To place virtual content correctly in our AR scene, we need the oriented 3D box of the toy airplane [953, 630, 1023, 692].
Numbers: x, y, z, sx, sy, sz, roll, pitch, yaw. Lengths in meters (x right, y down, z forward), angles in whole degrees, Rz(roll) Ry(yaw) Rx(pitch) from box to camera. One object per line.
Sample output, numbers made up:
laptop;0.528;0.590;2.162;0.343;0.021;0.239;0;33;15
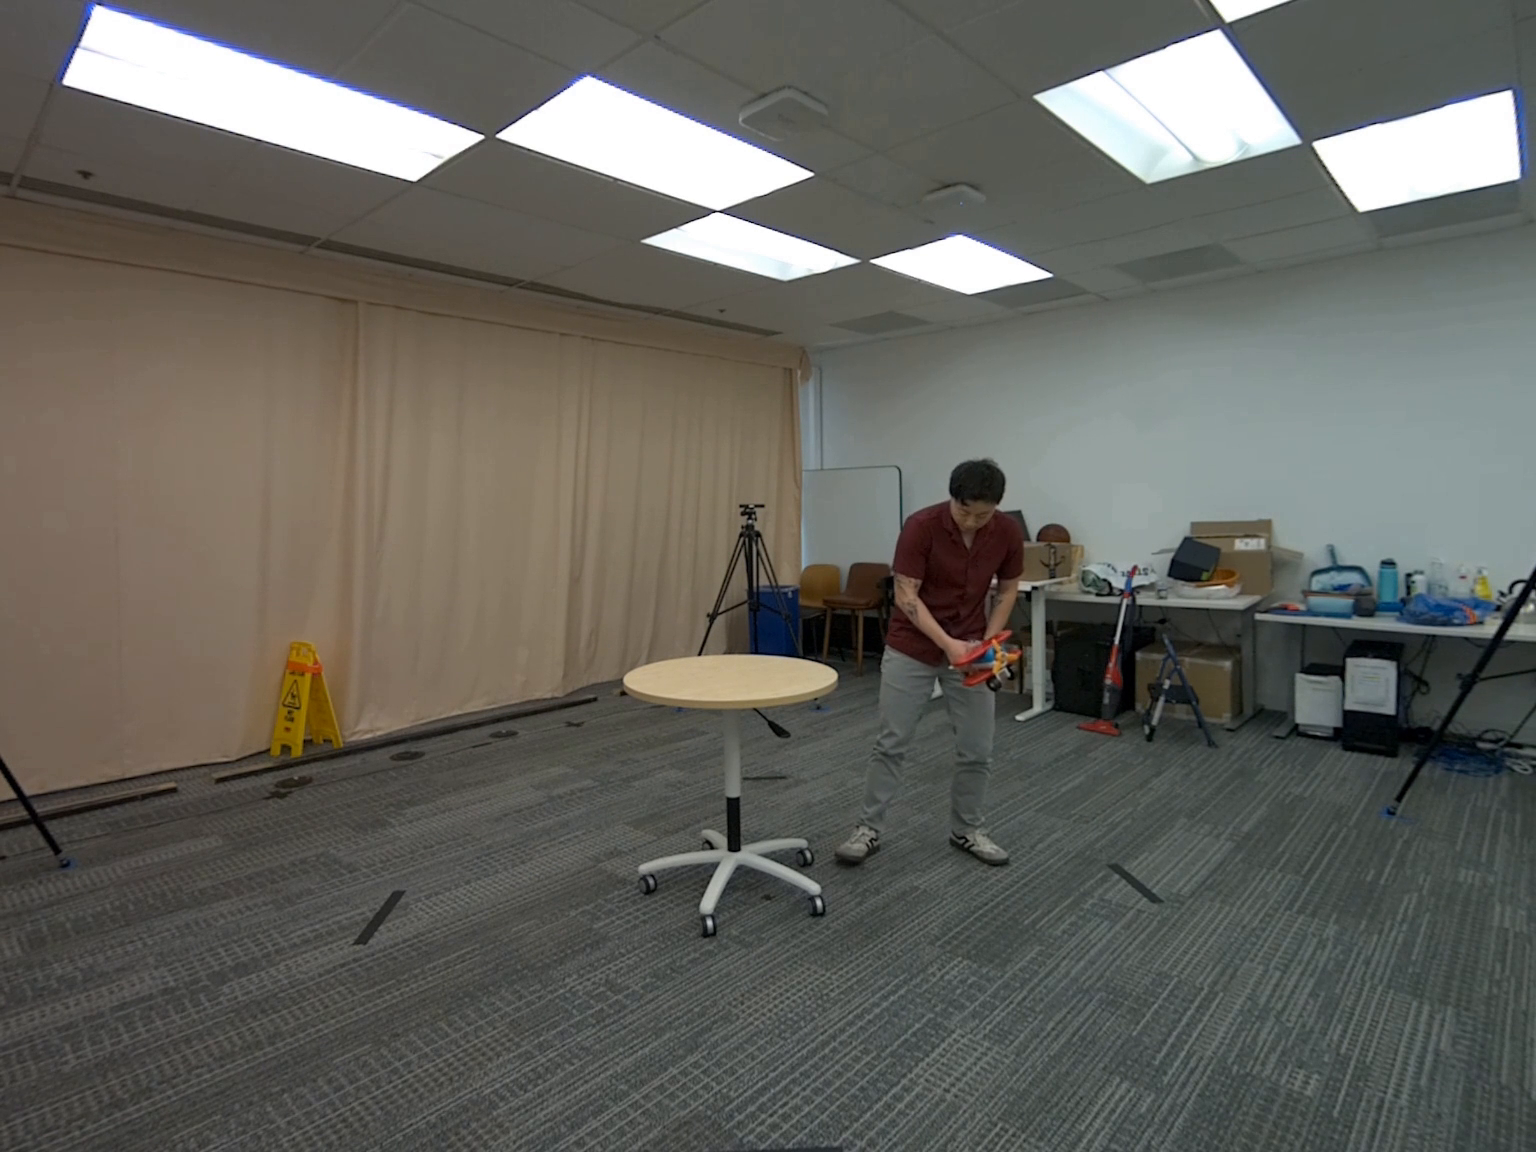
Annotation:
toy airplane;0.756;0.312;3.018;0.266;0.154;0.247;-9;18;37
